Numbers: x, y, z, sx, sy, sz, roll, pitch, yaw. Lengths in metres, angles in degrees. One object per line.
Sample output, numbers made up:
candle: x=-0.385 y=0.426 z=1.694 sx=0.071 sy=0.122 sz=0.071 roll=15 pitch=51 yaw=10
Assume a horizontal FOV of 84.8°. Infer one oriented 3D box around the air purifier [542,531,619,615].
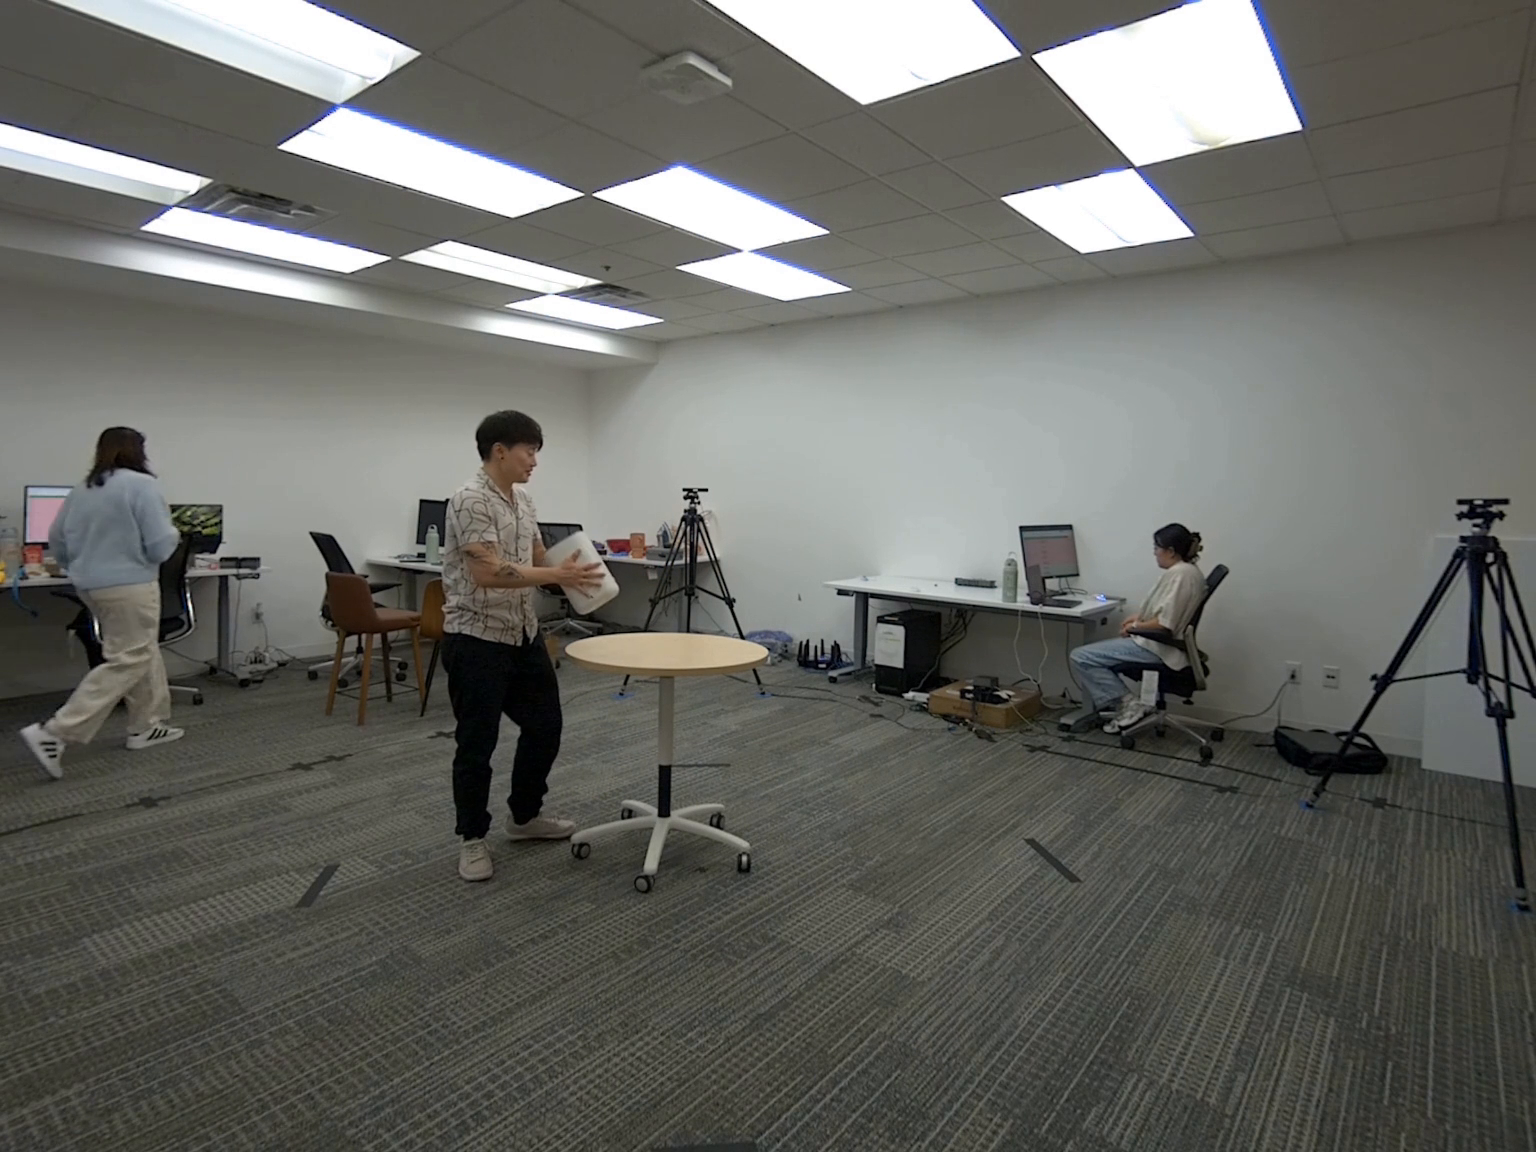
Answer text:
air purifier: x=-0.691 y=-0.007 z=3.110 sx=0.171 sy=0.266 sz=0.171 roll=-33 pitch=-2 yaw=1
